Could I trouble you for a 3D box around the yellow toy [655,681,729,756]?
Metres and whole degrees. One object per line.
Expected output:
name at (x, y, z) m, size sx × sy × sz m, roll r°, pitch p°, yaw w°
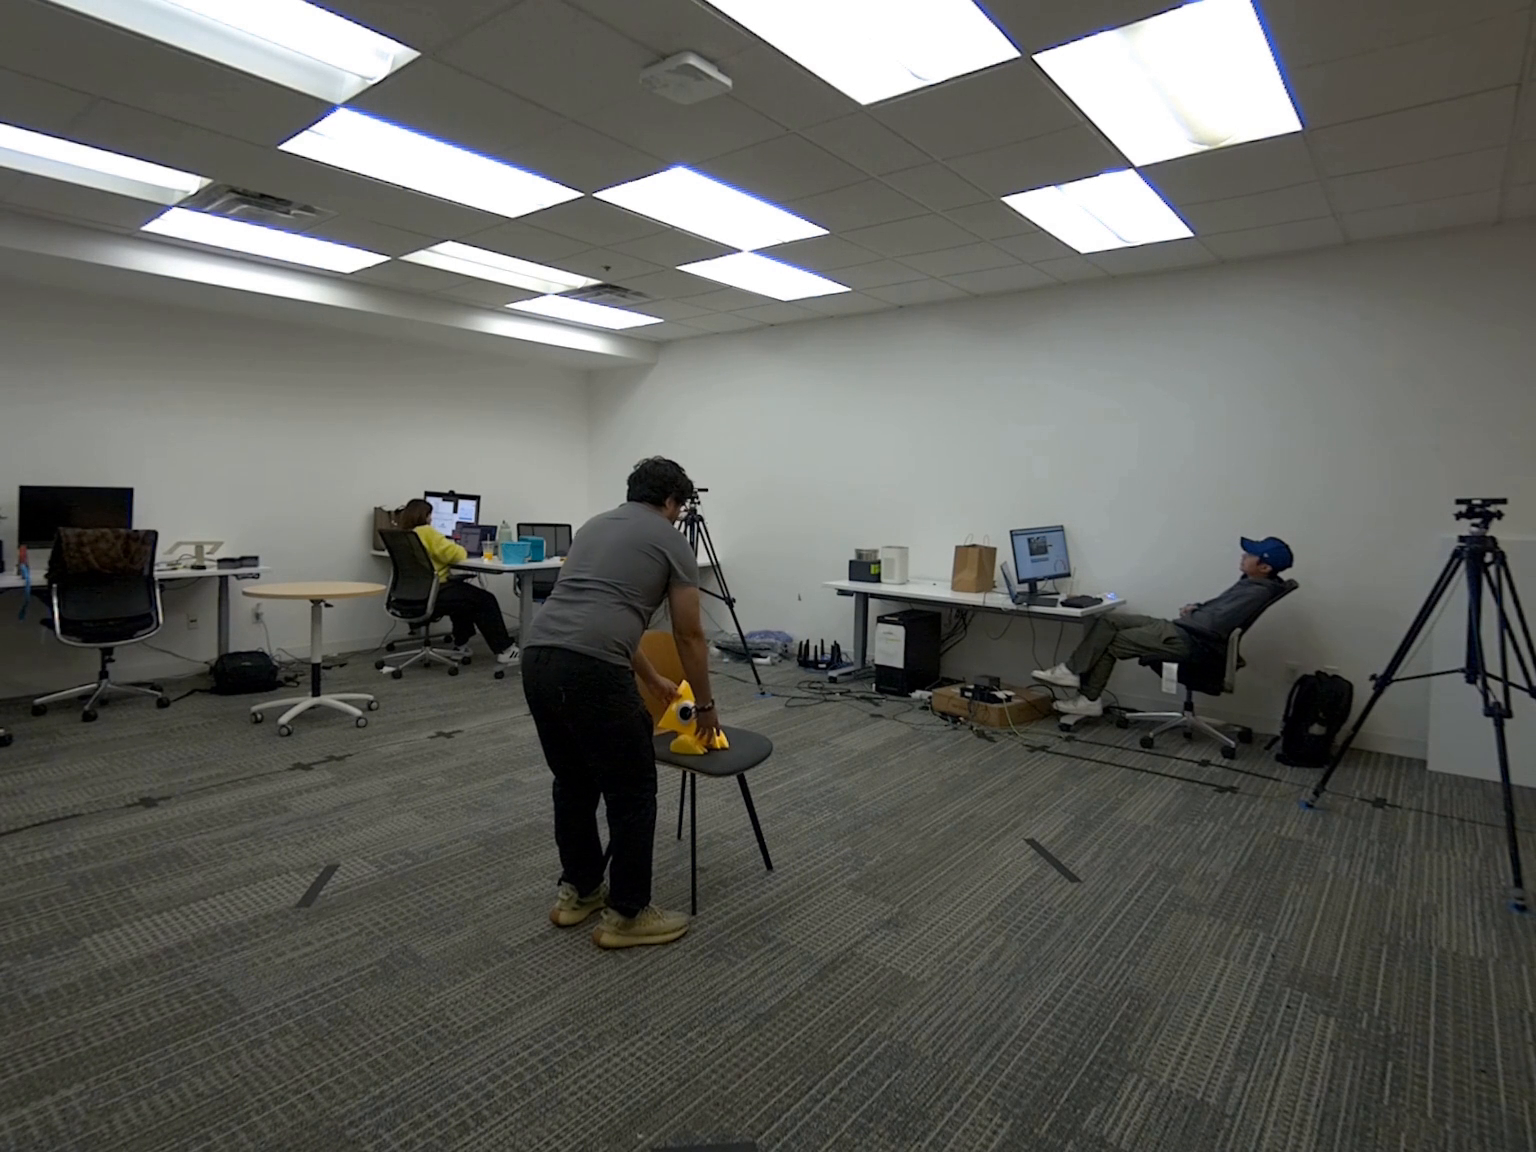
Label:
yellow toy at (-0.263, 0.488, 2.998) m, size 0.199 × 0.231 × 0.198 m, roll -1°, pitch -1°, yaw 42°
